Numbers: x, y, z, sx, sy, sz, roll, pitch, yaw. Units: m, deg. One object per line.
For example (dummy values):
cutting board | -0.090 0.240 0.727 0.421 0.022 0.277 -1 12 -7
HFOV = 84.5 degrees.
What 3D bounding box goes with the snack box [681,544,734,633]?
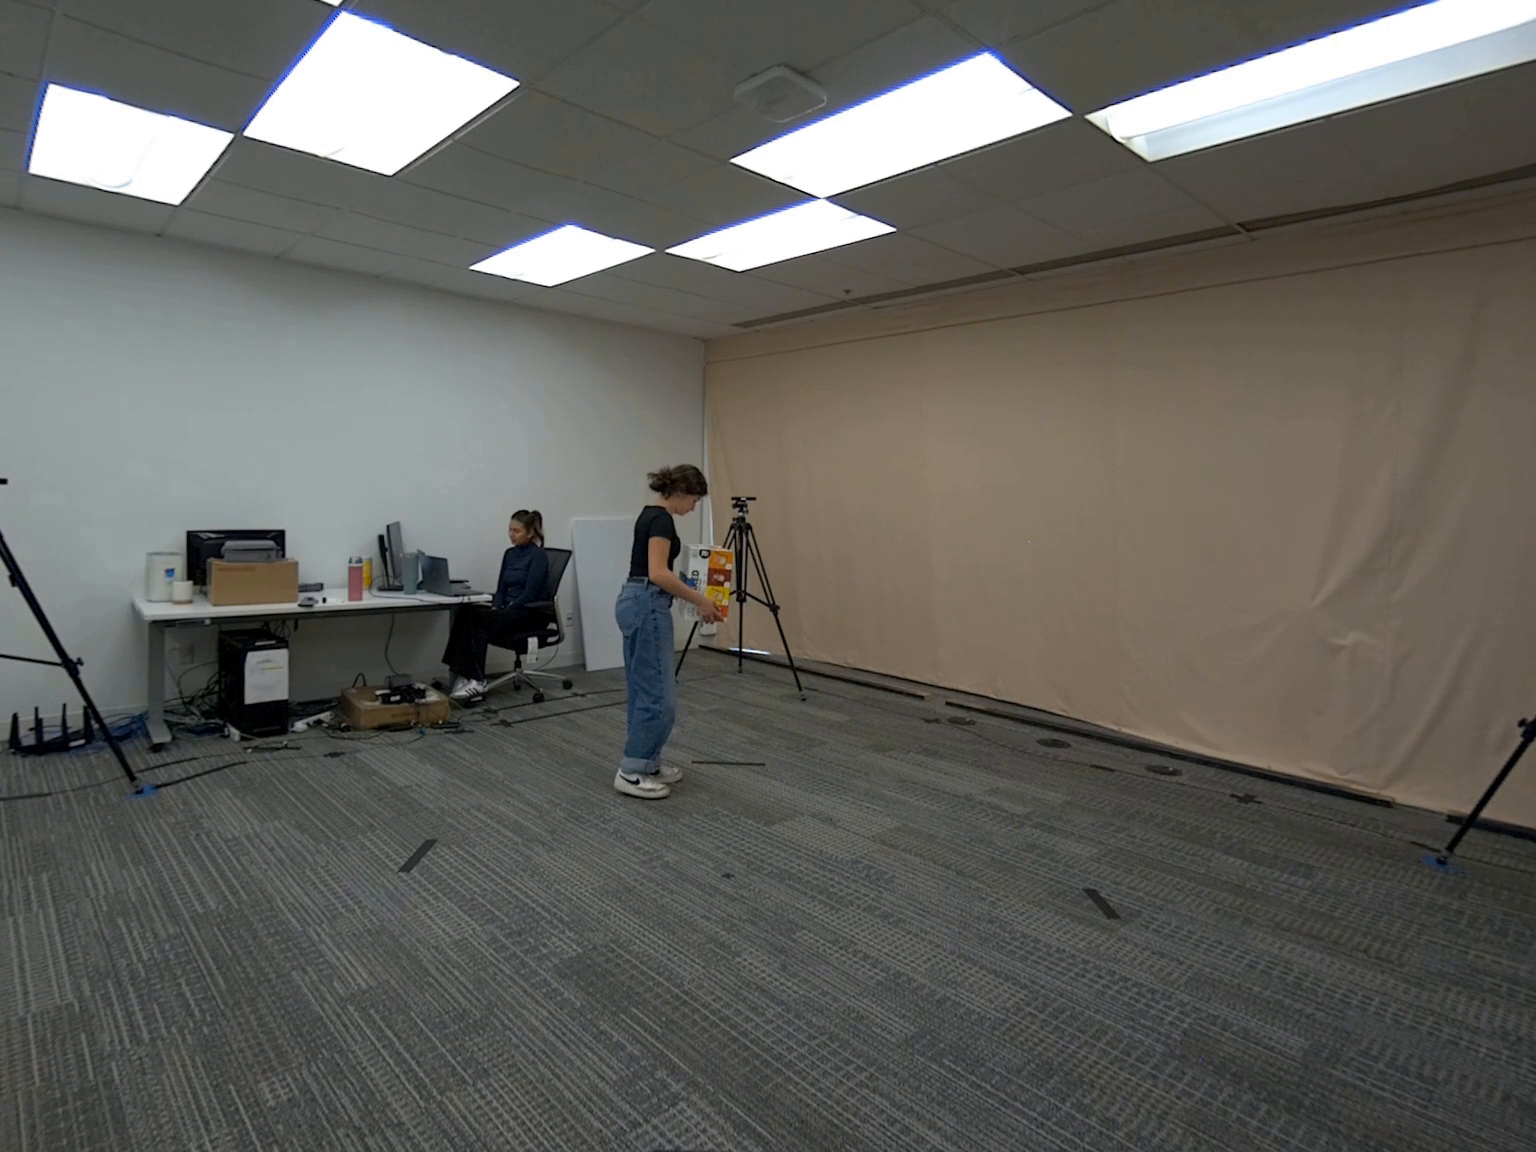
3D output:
snack box | -0.319 0.027 4.097 0.204 0.340 0.409 5 3 -10
